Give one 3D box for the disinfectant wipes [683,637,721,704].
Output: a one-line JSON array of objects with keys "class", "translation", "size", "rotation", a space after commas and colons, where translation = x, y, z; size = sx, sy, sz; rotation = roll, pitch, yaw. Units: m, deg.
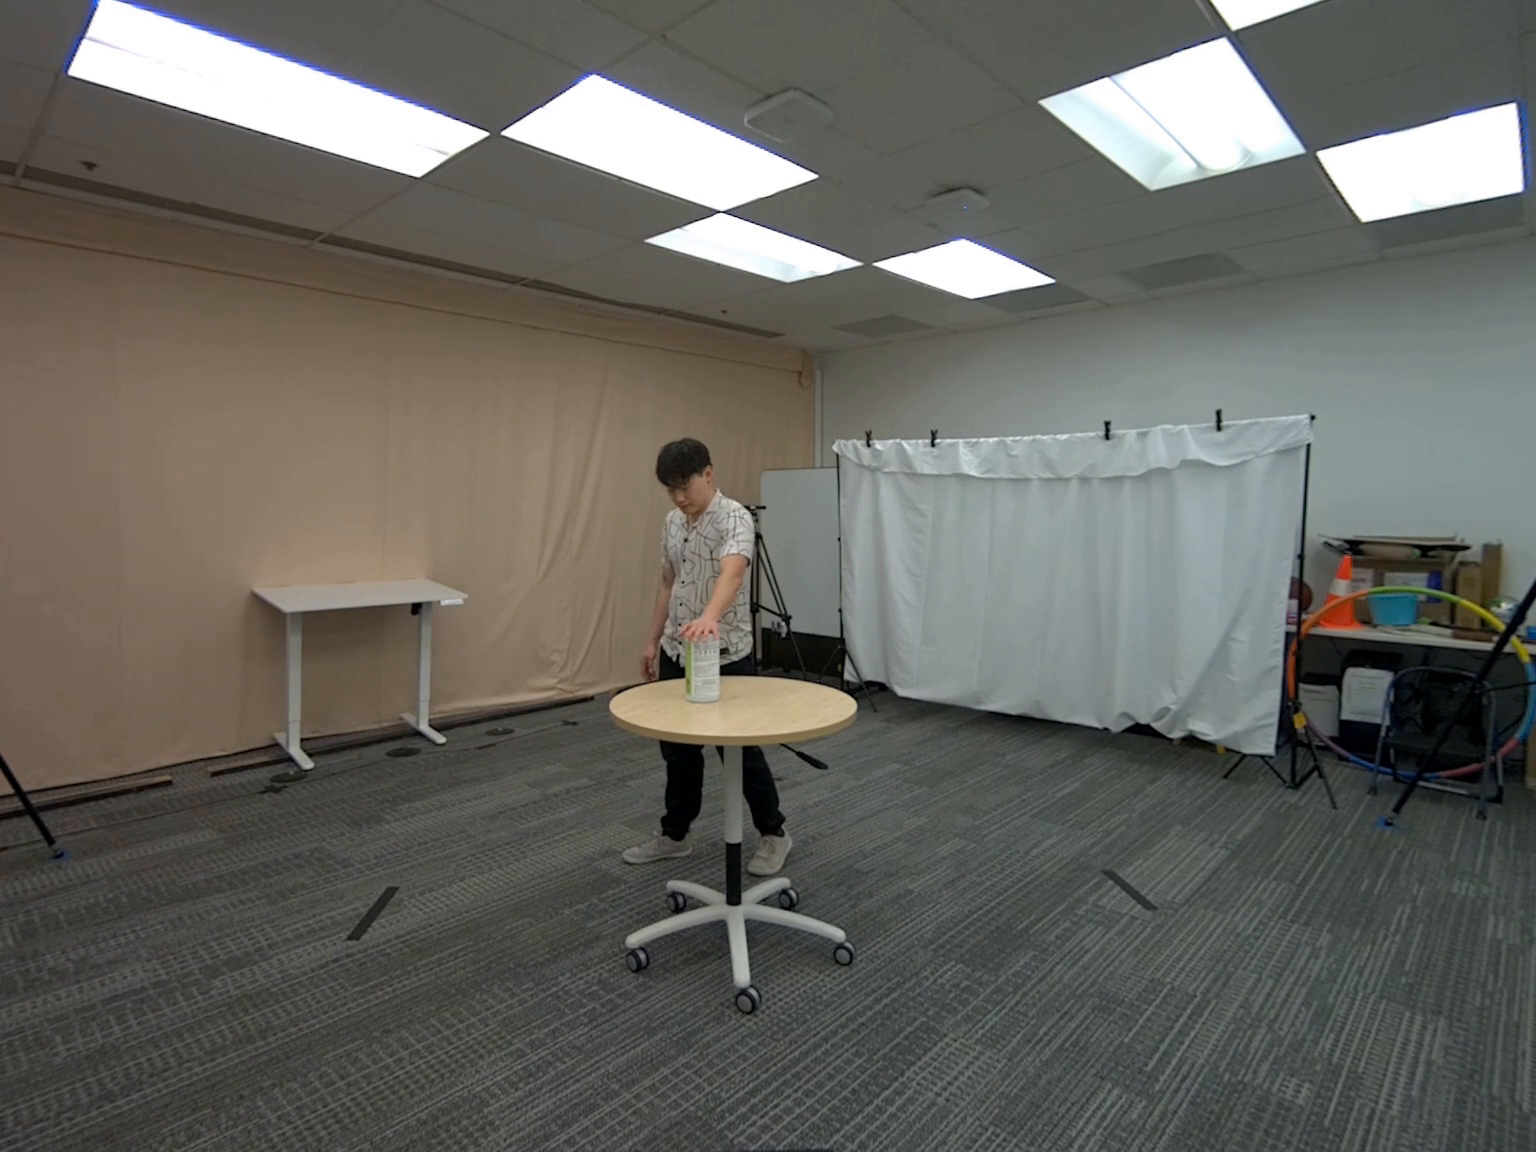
[{"class": "disinfectant wipes", "translation": [-0.202, 0.284, 2.655], "size": [0.118, 0.217, 0.118], "rotation": [-1, 2, -2]}]
